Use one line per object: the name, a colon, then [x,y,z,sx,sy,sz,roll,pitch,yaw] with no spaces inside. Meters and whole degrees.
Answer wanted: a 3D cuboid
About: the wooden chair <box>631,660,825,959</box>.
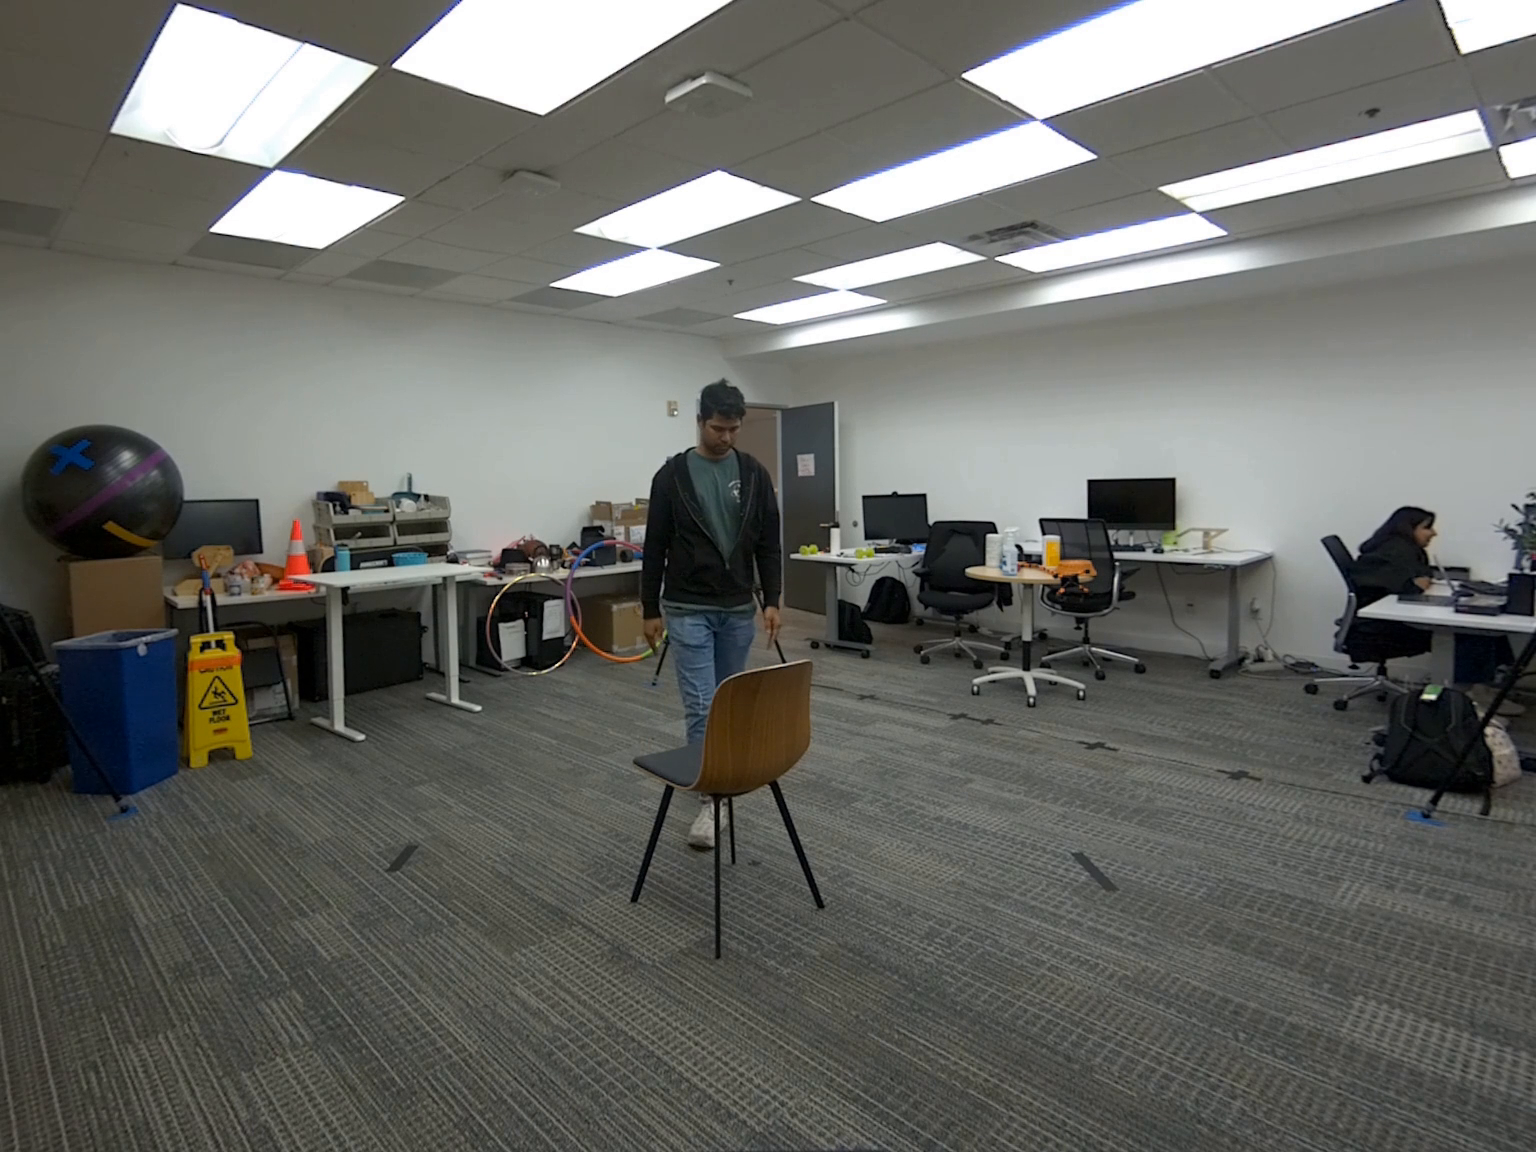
wooden chair: [-0.144,0.661,2.777,0.466,0.871,0.541,-5,11,-41]
